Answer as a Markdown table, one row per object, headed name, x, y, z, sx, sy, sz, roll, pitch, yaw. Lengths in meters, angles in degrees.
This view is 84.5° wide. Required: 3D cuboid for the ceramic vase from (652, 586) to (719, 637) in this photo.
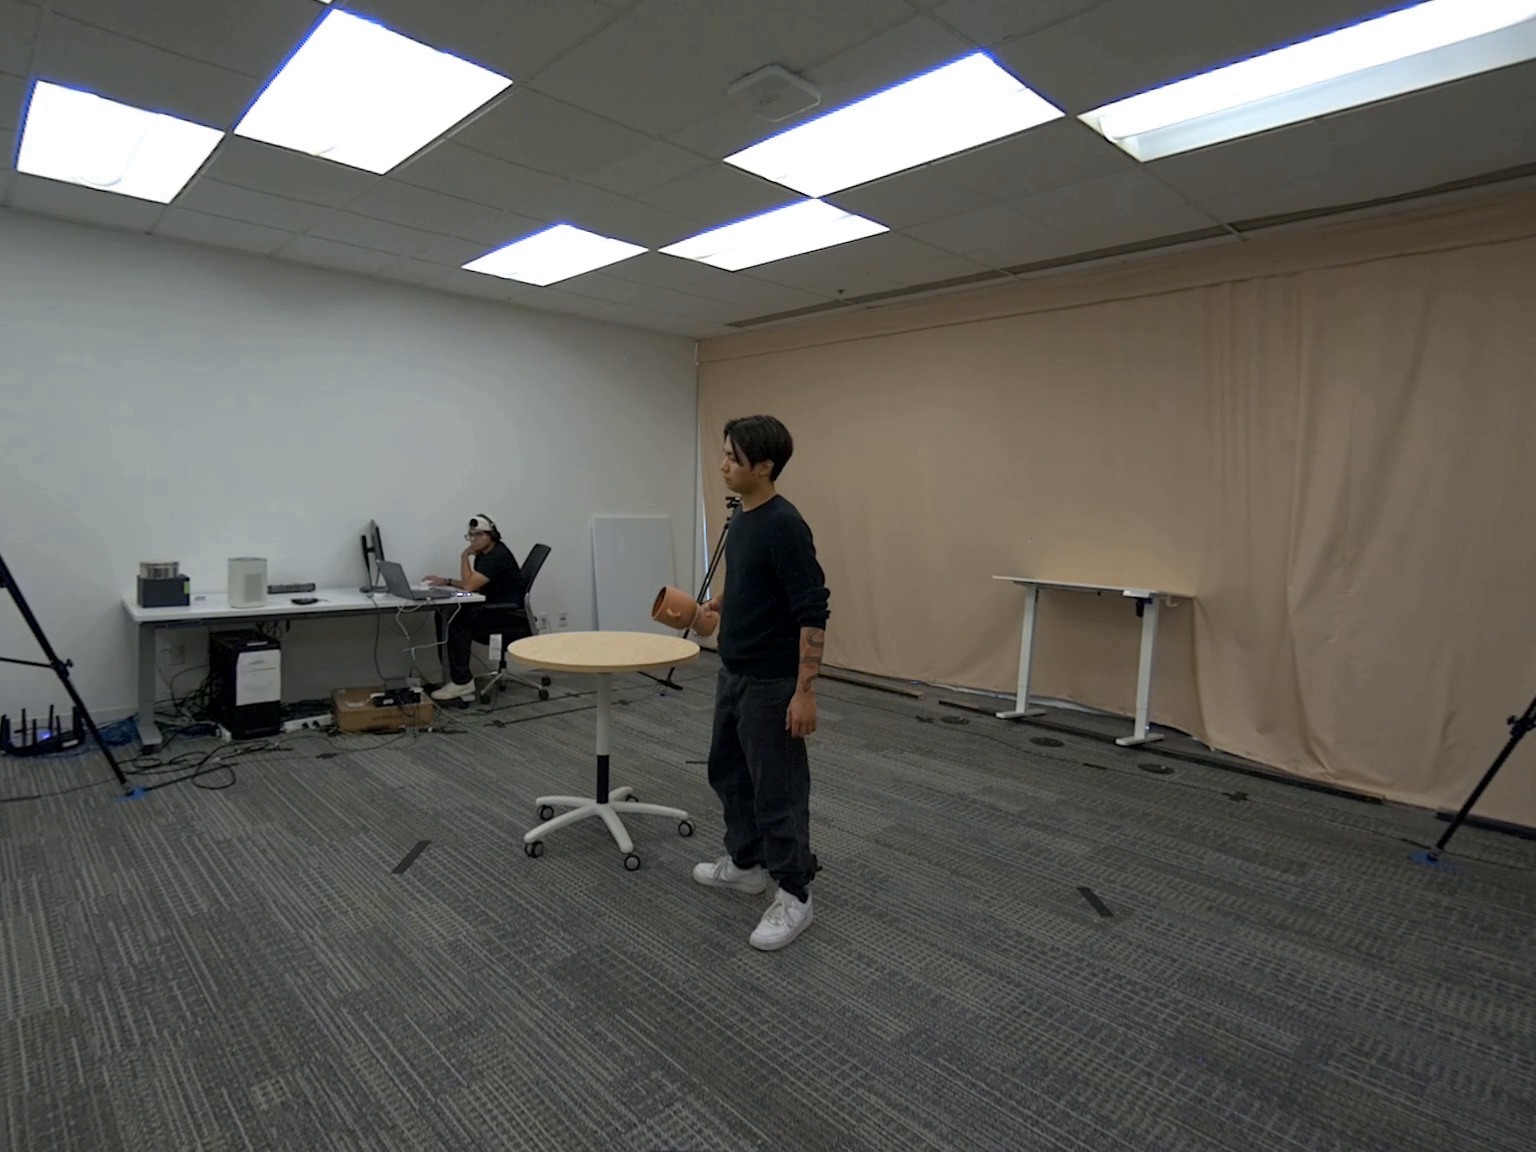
| name | x | y | z | sx | sy | sz | roll | pitch | yaw |
| --- | --- | --- | --- | --- | --- | --- | --- | --- | --- |
| ceramic vase | -0.297 | 0.127 | 3.033 | 0.216 | 0.161 | 0.134 | 25 | -41 | -16 |
